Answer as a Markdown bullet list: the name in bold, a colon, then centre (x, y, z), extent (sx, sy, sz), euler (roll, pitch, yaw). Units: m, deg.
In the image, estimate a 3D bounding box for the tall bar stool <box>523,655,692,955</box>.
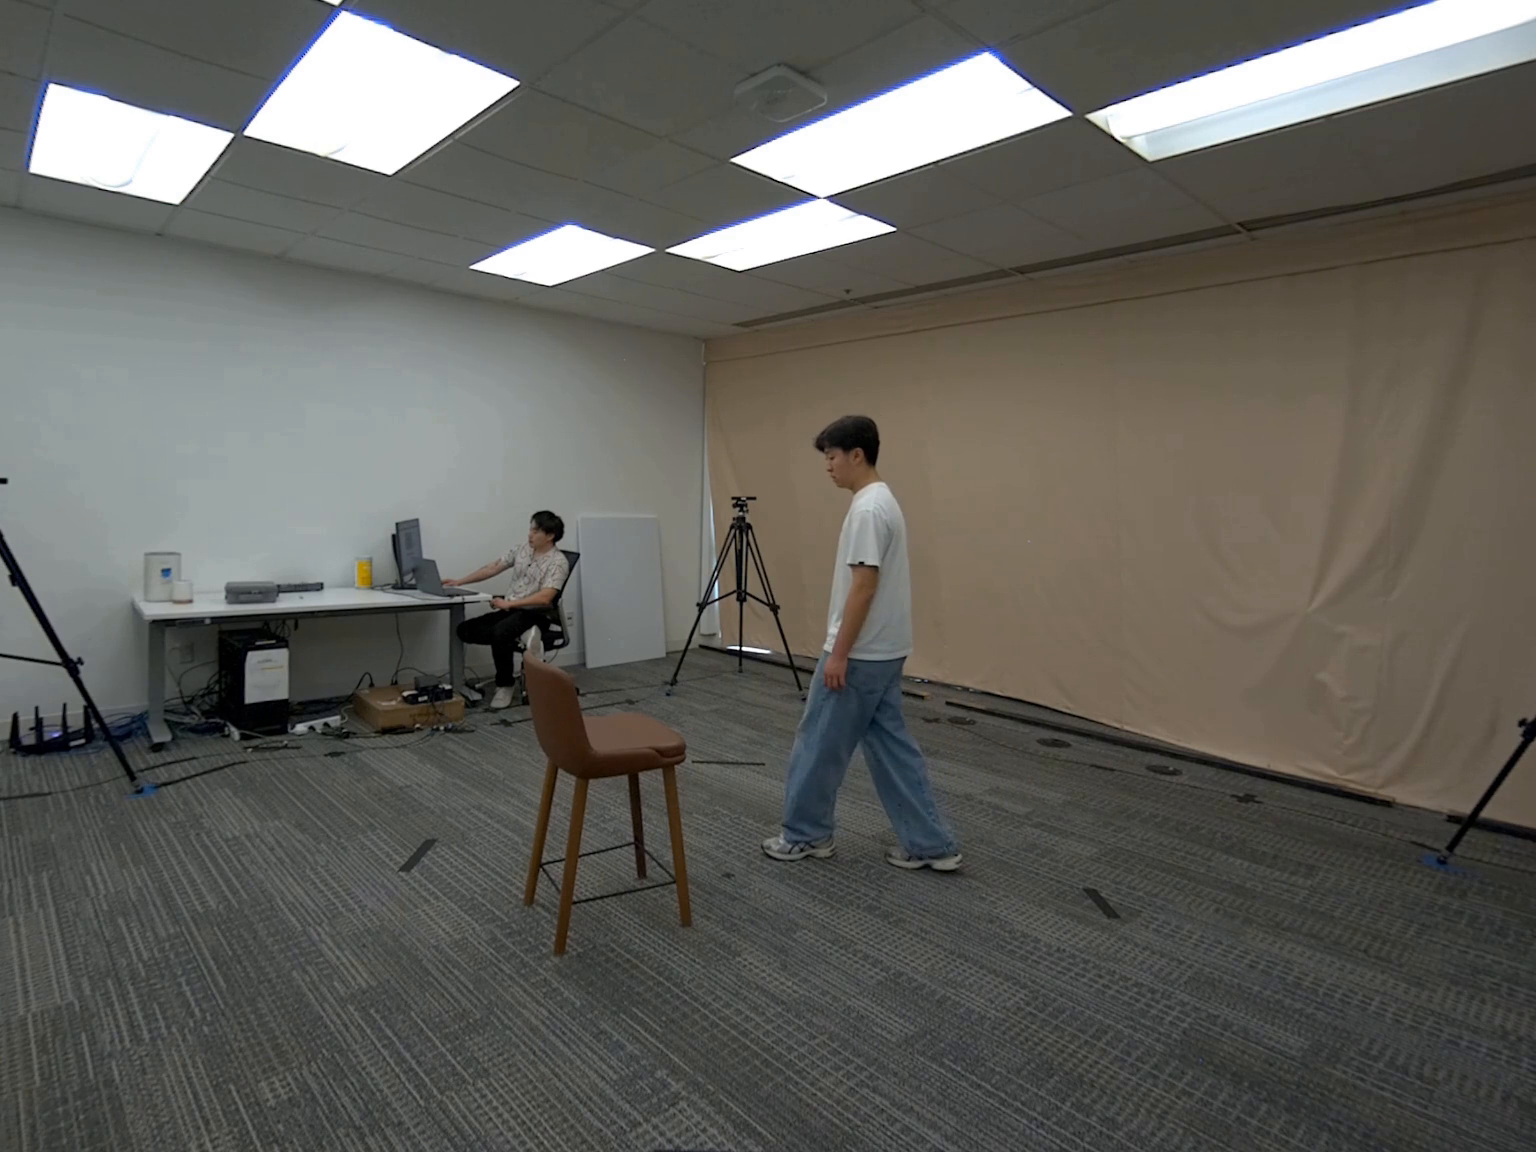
- **tall bar stool**: centre (-0.543, 0.692, 2.775), extent (0.458, 0.887, 0.467), euler (-3, 5, -31)
